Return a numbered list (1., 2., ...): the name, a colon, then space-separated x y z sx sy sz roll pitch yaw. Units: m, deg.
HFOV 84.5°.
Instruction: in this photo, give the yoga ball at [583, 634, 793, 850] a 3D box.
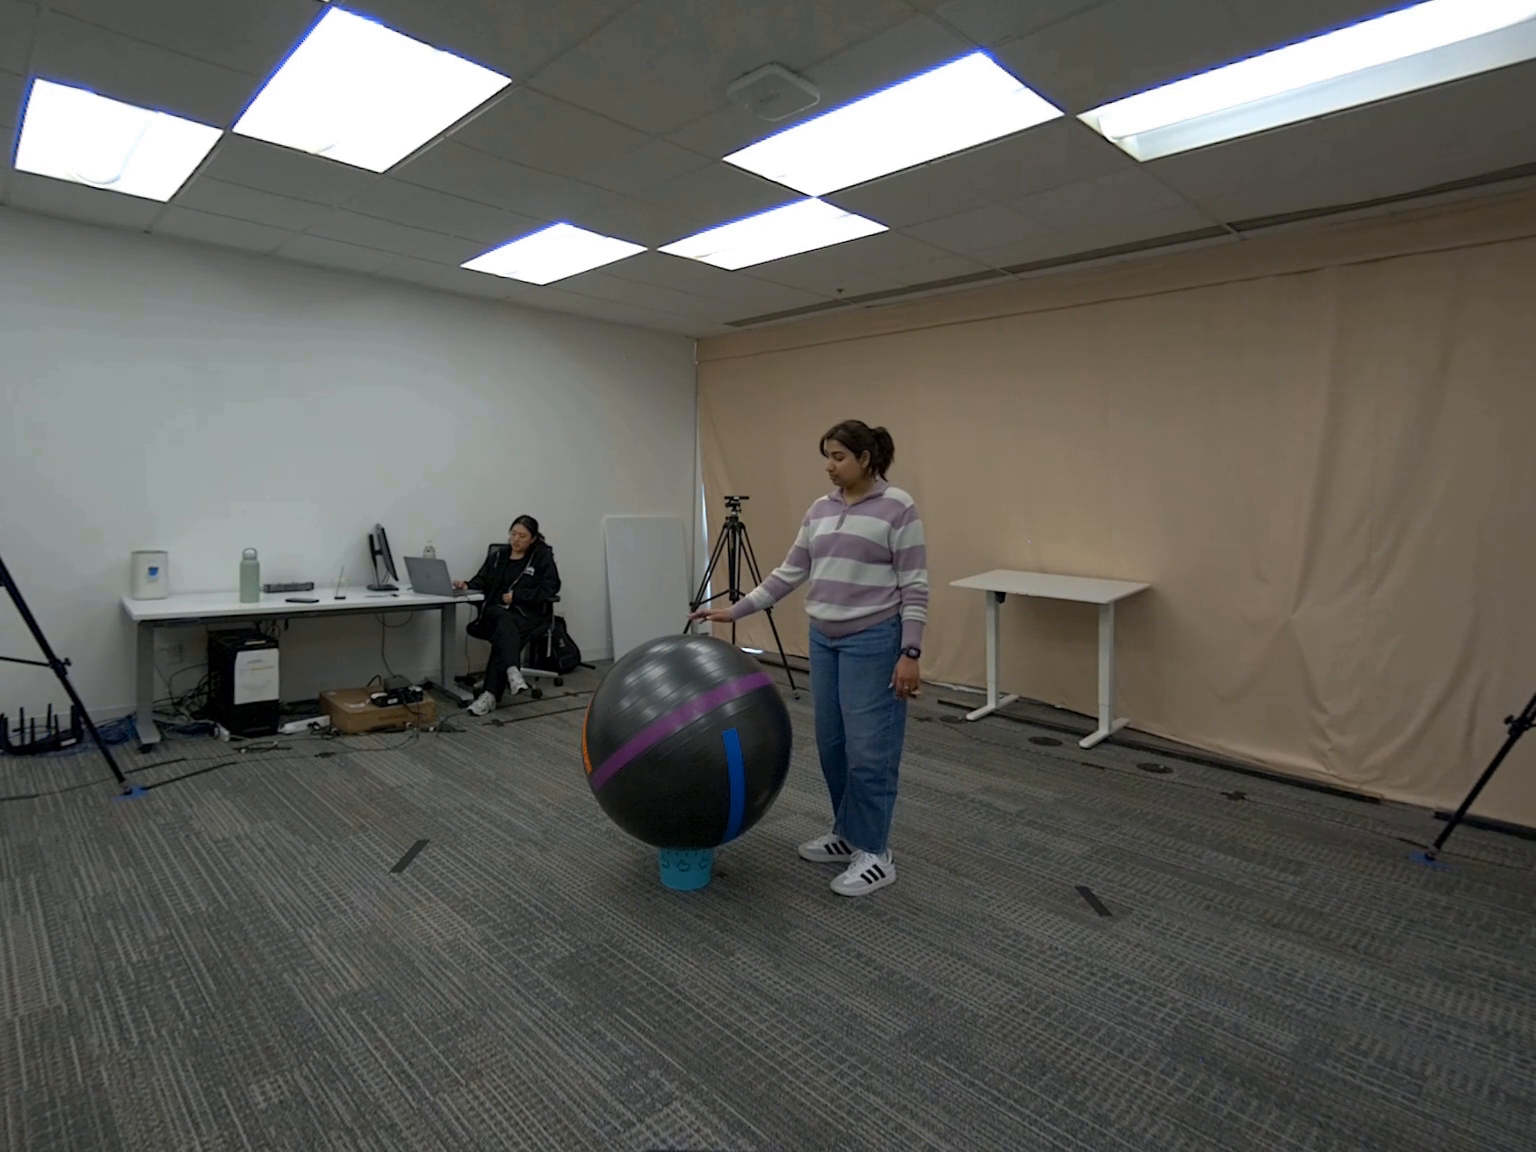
1. yoga ball: -0.295 0.593 3.041 0.757 0.756 0.761 1 4 -1
